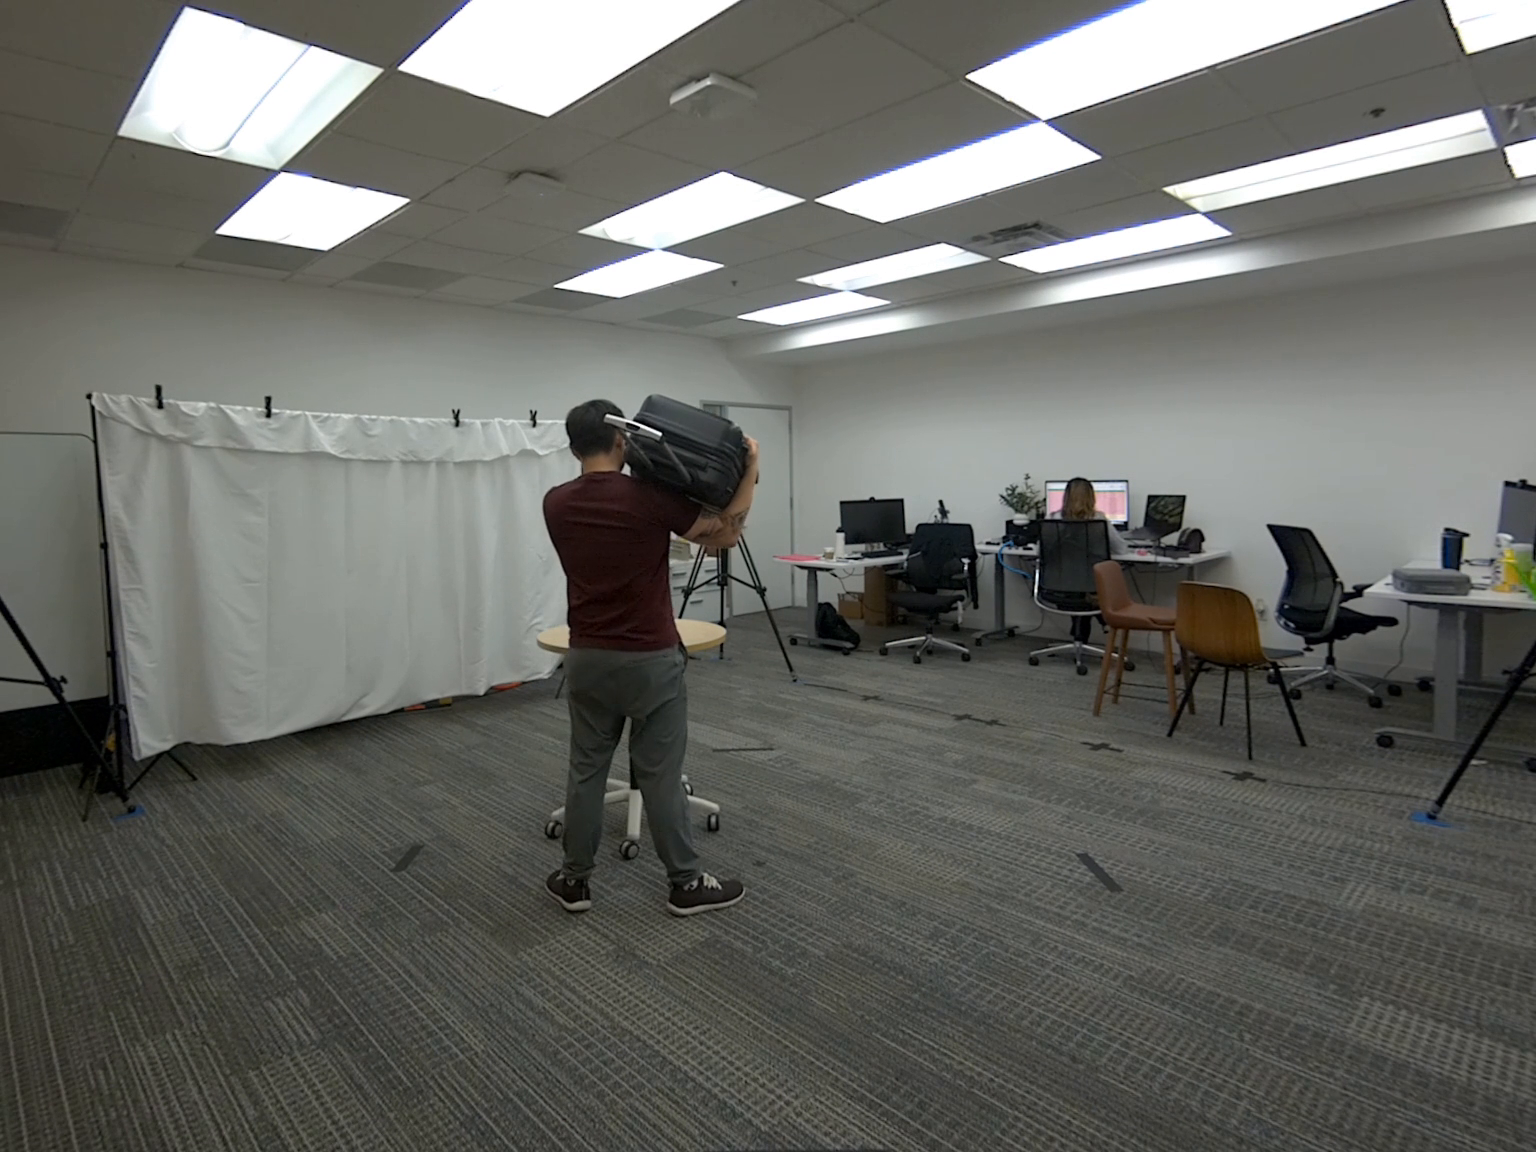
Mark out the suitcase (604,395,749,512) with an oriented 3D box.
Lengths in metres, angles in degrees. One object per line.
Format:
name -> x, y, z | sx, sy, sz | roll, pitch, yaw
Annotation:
suitcase -> -0.261, -0.412, 2.647 | 0.389, 0.258, 0.962 | 23, -7, 9
